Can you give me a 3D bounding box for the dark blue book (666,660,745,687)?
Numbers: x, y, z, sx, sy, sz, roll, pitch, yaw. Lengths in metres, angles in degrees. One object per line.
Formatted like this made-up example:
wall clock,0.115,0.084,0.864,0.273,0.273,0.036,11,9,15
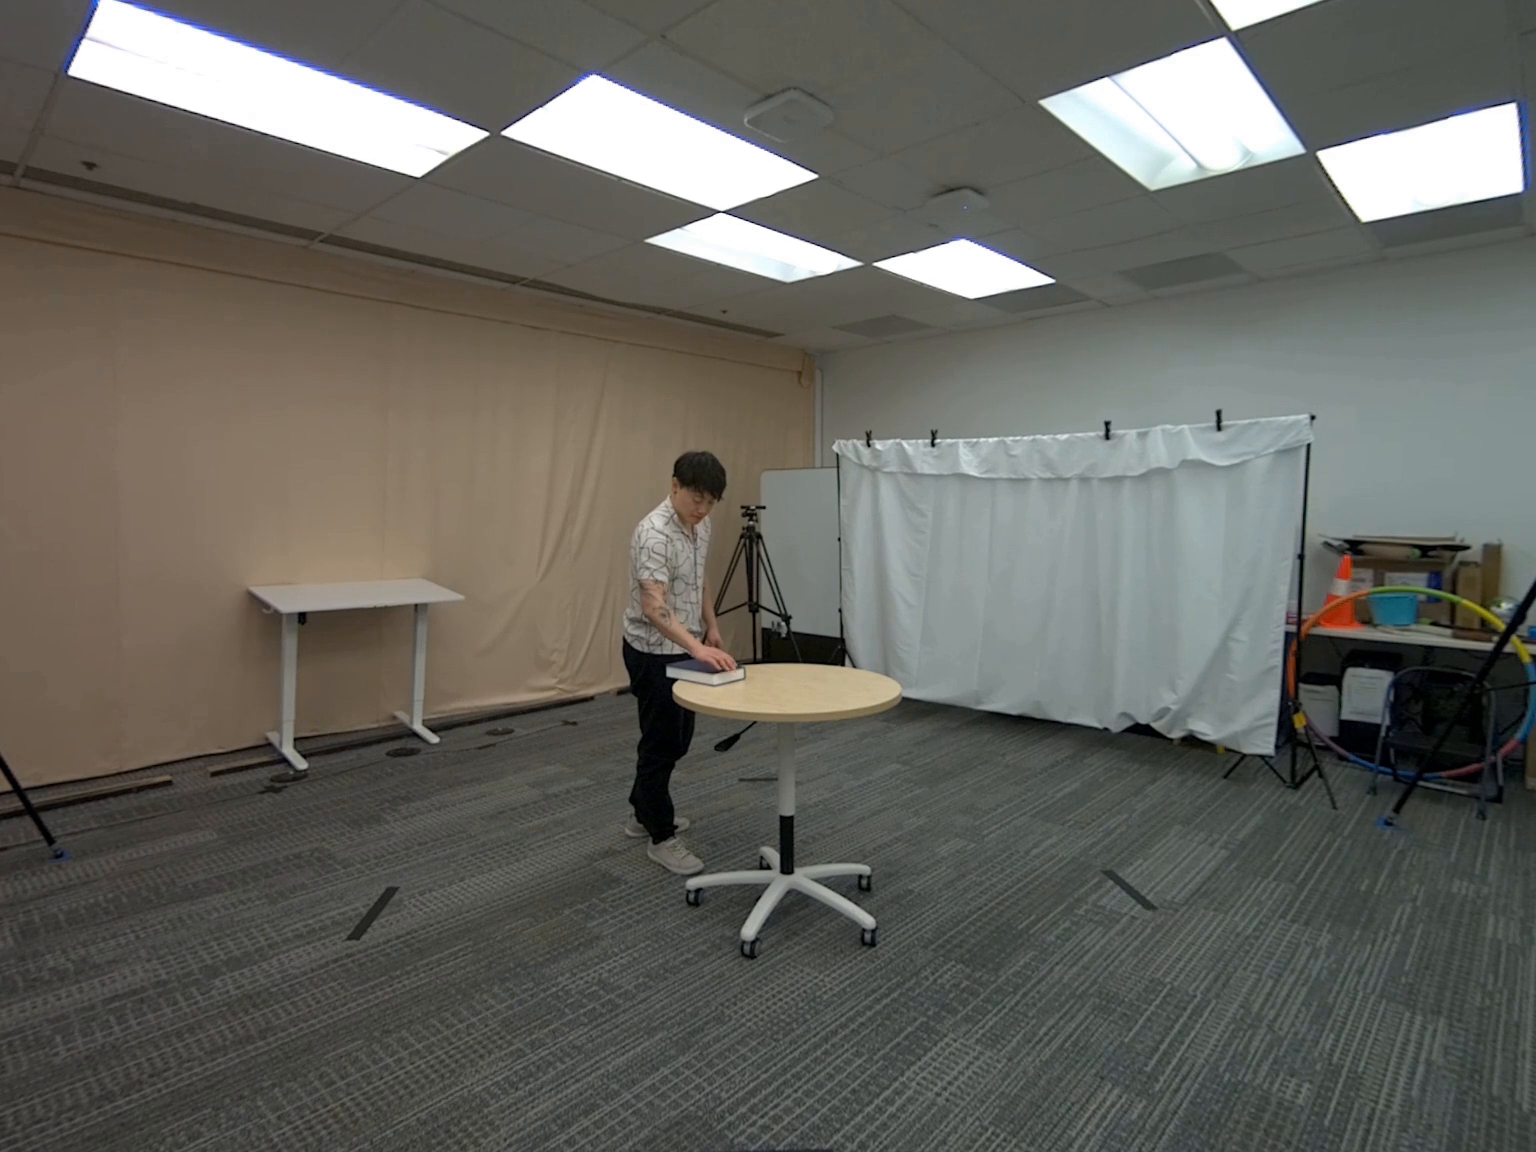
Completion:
dark blue book,-0.219,0.339,2.974,0.253,0.045,0.158,3,5,39
